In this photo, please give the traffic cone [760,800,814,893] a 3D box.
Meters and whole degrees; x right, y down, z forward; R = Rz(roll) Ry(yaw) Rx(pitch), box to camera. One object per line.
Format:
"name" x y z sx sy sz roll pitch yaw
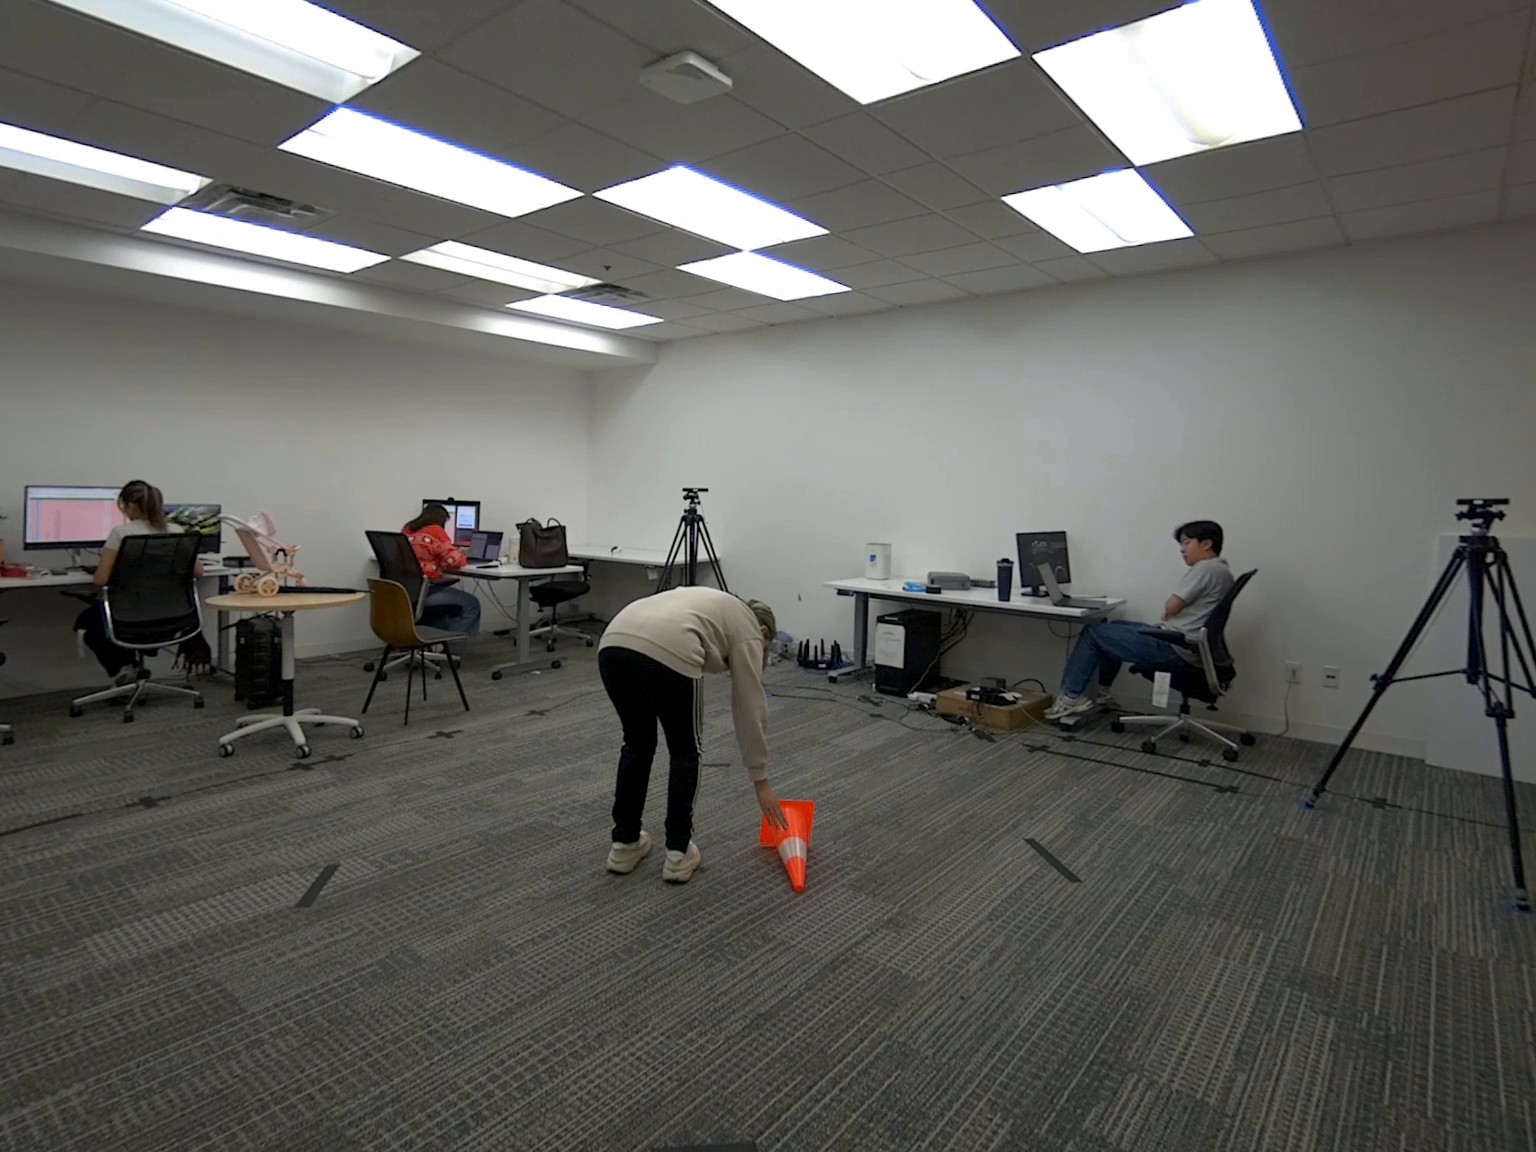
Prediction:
"traffic cone" 0.080 1.023 3.123 0.203 0.200 0.392 1 18 -8
